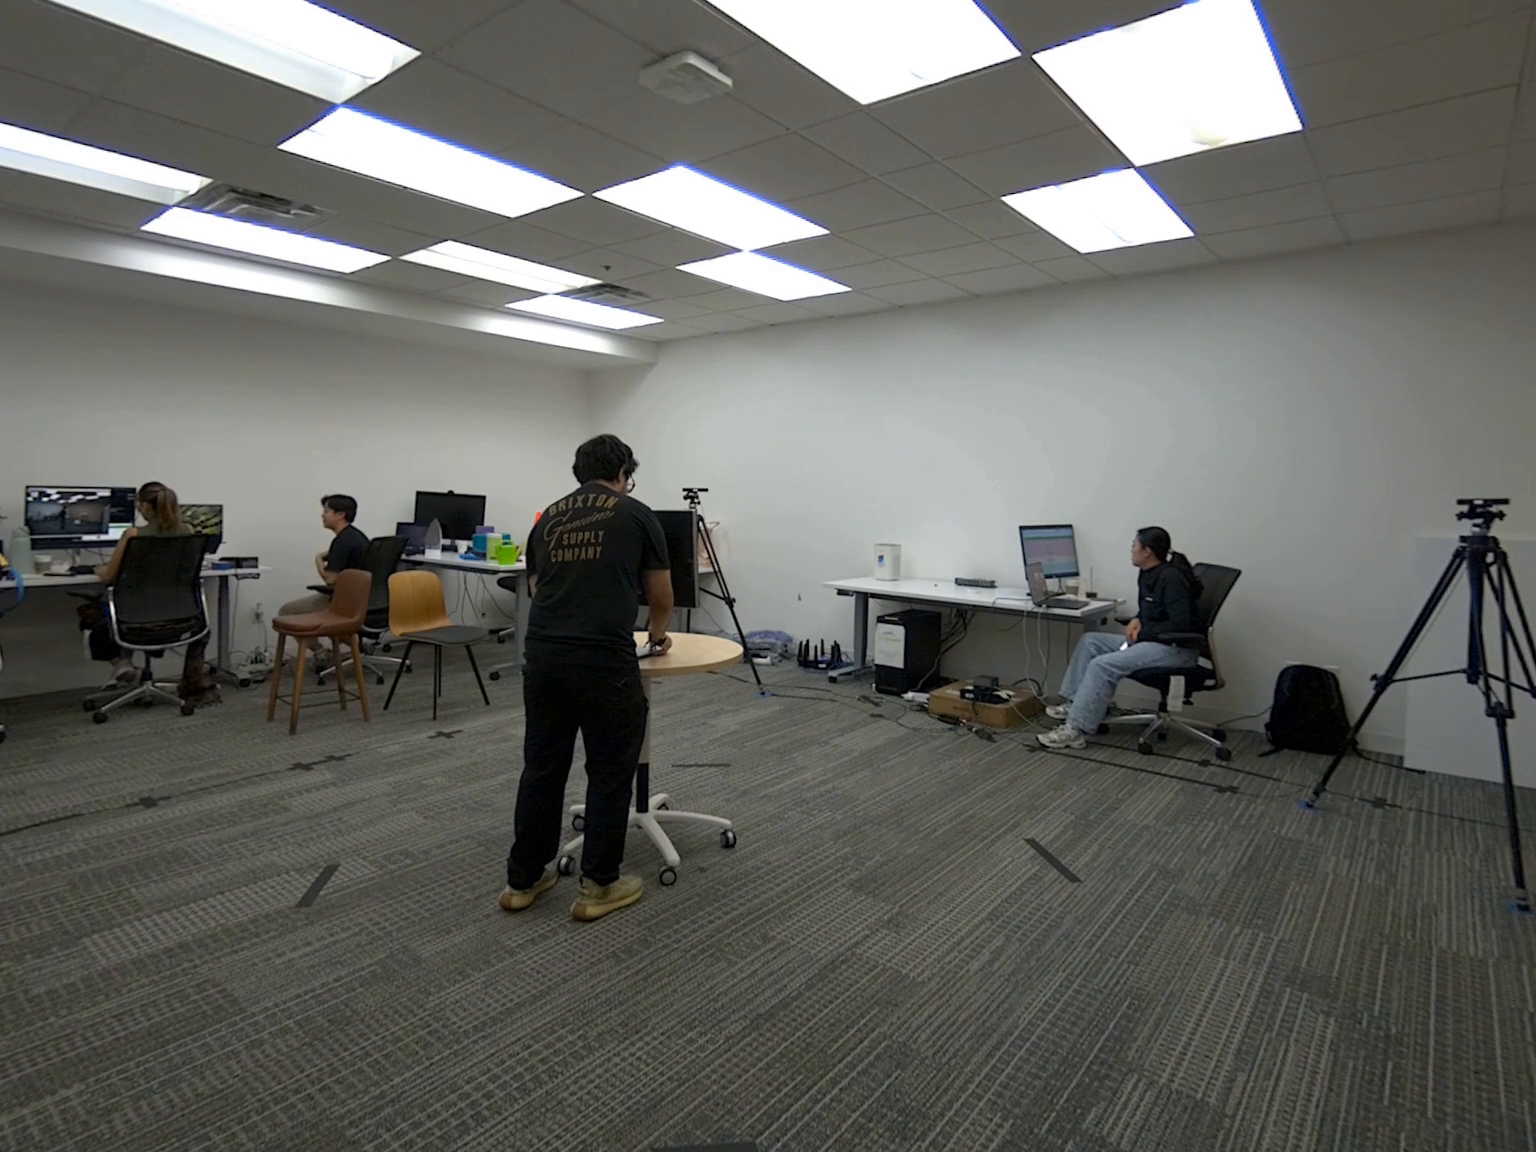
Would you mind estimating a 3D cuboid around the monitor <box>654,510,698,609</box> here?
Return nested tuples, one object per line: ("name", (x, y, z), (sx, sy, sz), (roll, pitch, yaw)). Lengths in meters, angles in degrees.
("monitor", (-0.554, 0.021, 3.140), (0.580, 0.552, 0.205), (3, 5, 25))
